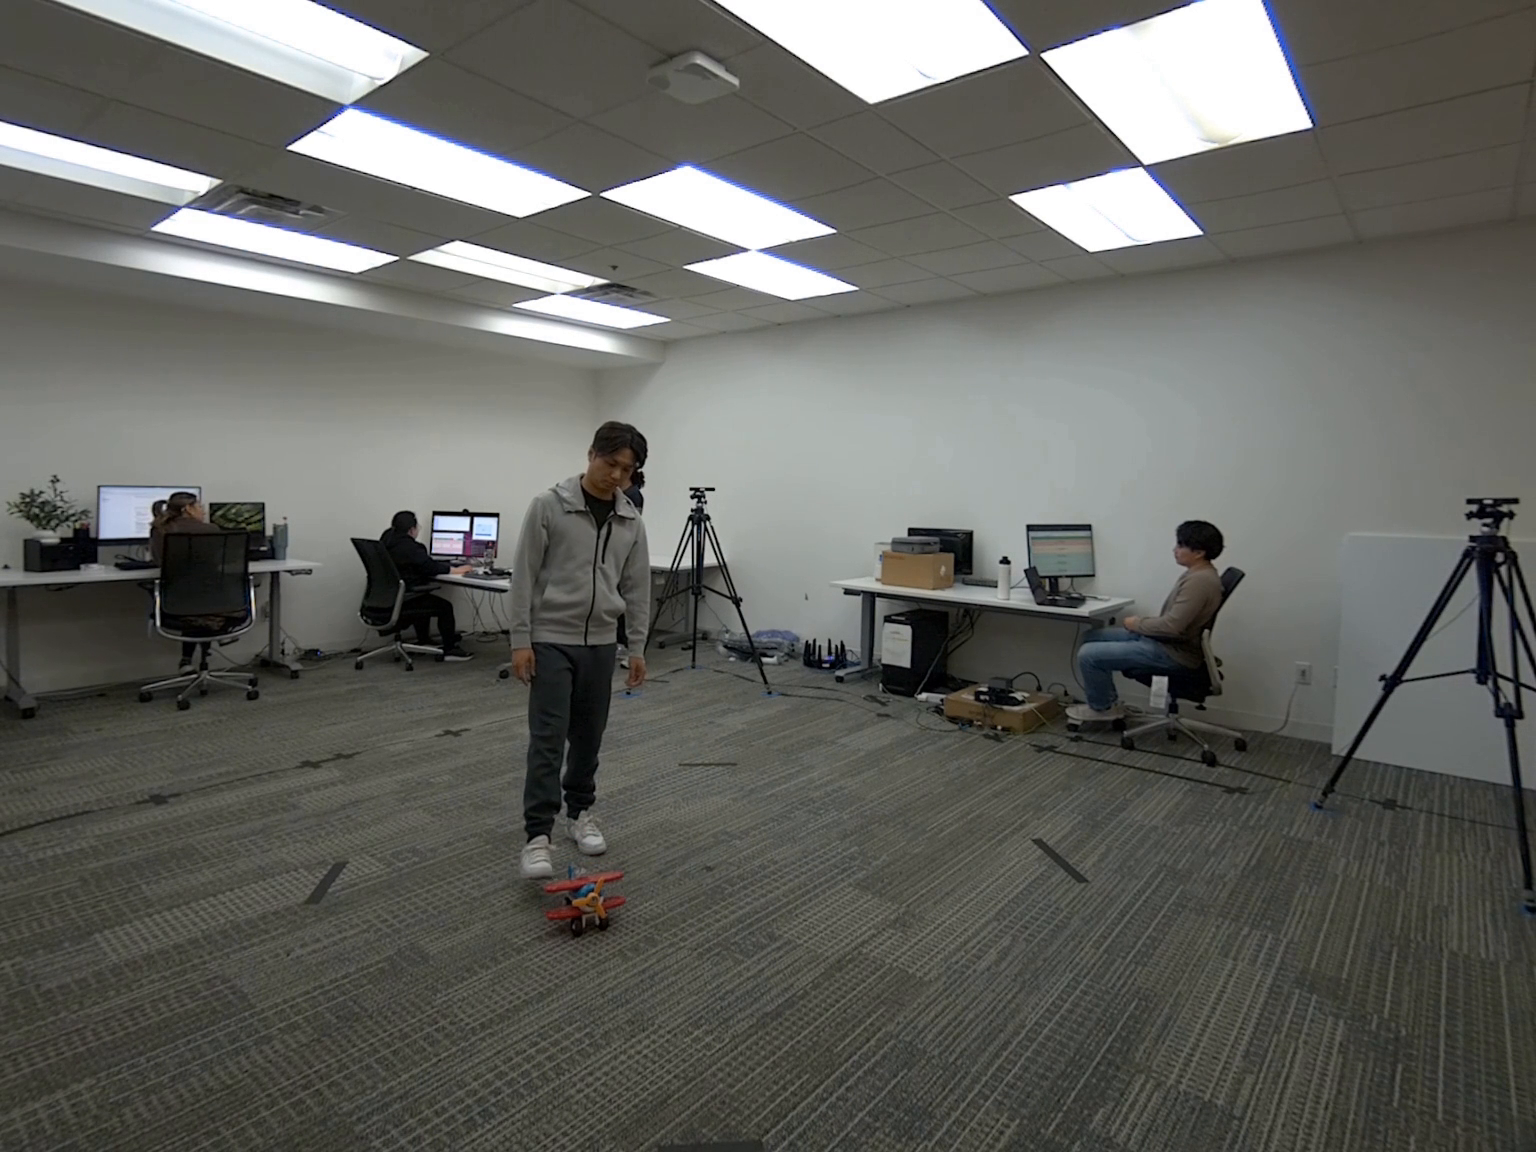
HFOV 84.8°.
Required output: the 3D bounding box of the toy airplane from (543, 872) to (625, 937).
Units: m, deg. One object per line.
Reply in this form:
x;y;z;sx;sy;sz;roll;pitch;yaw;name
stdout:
-0.620;1.024;2.716;0.268;0.156;0.244;5;7;35;toy airplane
